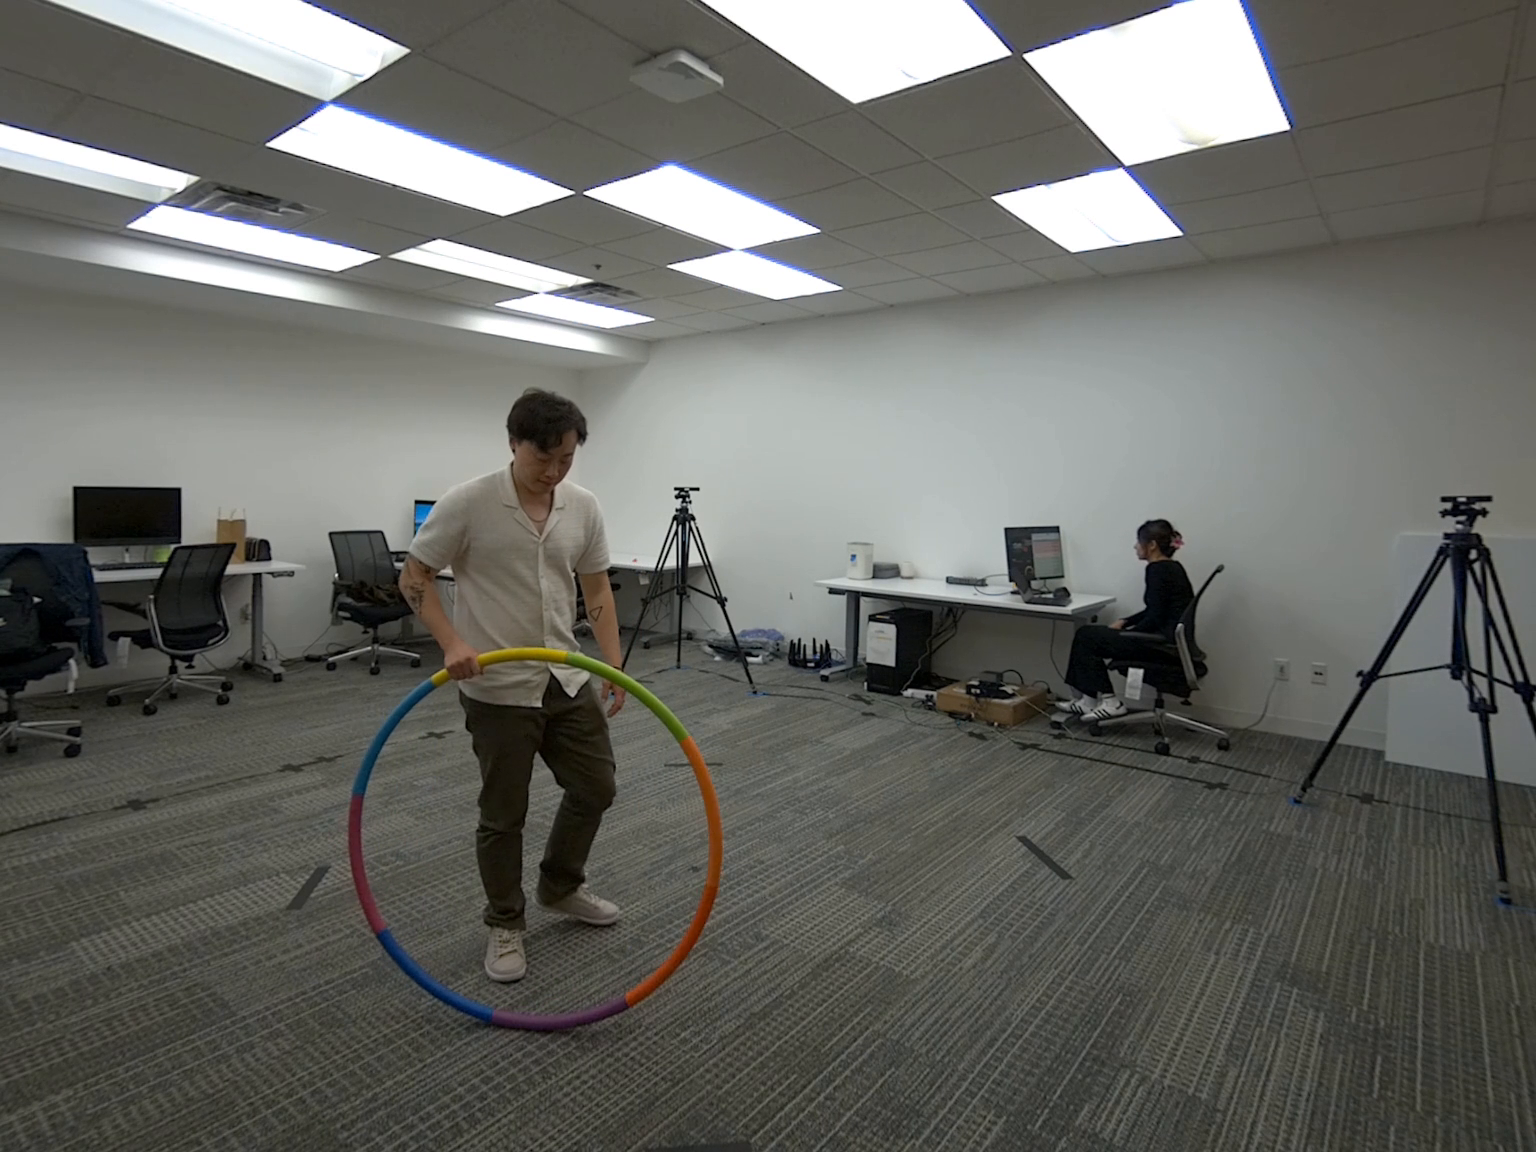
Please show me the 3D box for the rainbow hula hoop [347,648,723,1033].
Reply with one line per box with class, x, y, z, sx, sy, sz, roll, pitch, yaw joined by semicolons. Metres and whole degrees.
rainbow hula hoop;-0.613;0.673;2.197;0.987;0.981;0.035;1;-3;7
